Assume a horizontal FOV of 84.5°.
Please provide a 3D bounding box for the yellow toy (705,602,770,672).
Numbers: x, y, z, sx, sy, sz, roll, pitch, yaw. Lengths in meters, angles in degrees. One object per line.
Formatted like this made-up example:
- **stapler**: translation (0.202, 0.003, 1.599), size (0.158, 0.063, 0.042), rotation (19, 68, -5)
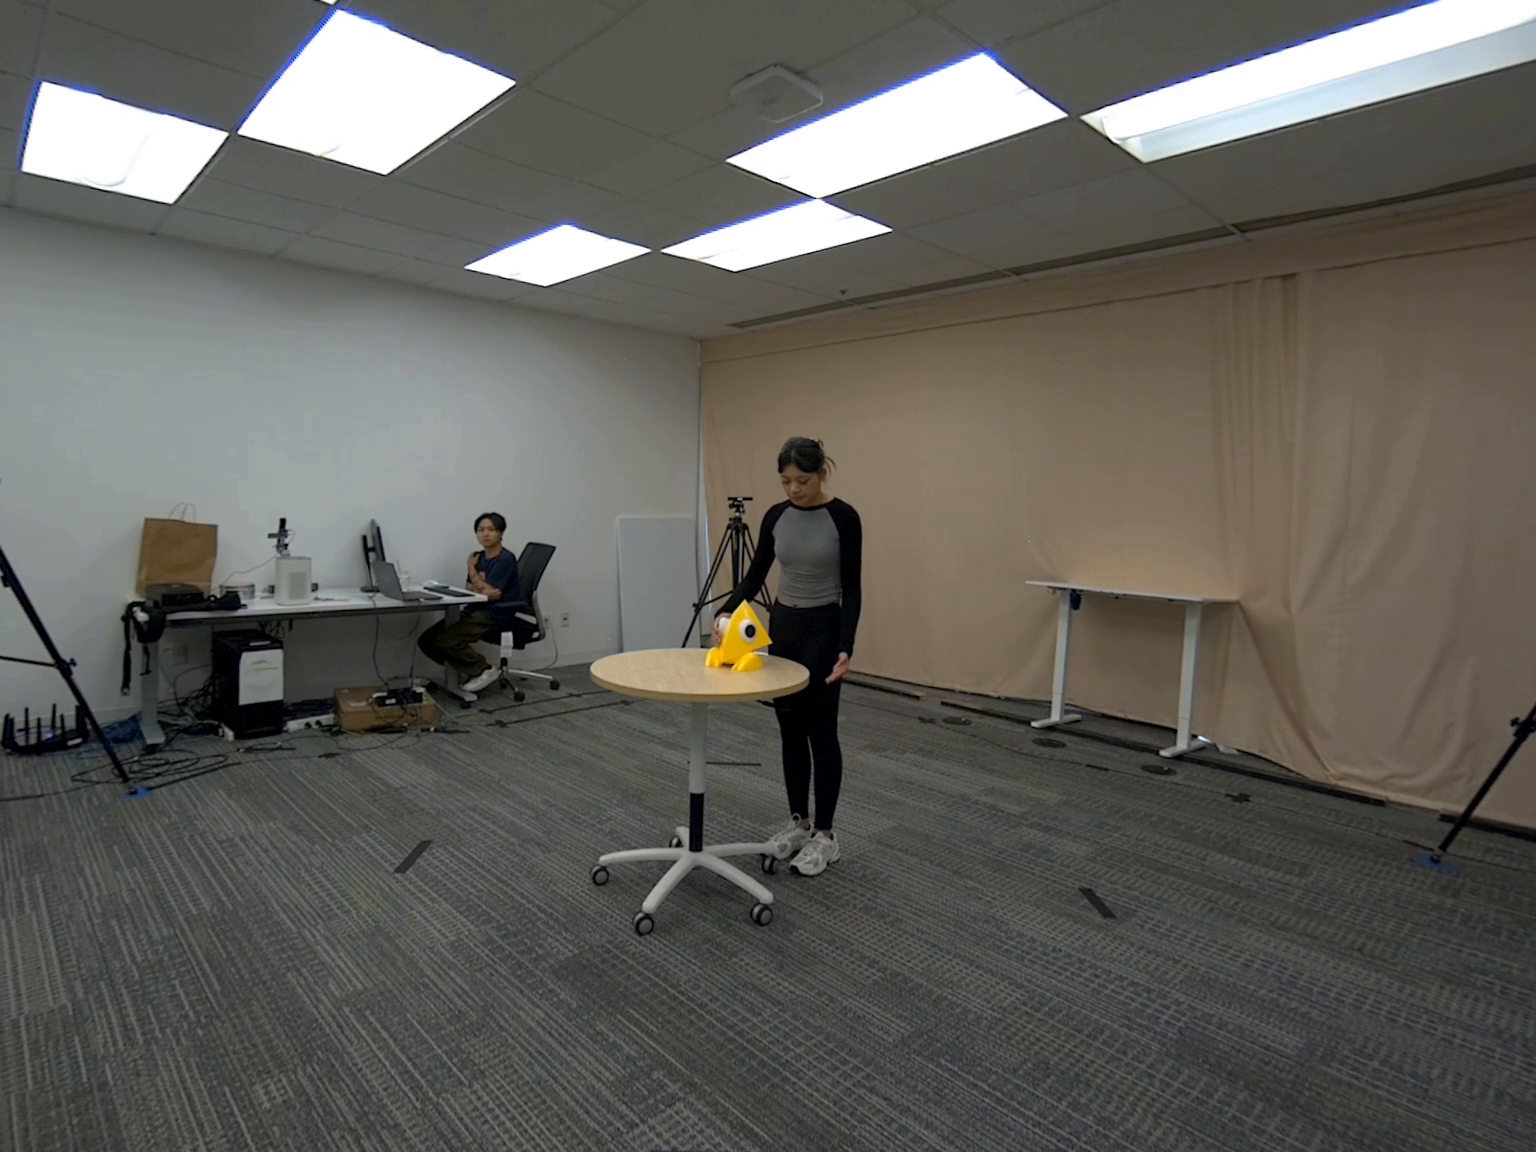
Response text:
- **yellow toy**: translation (-0.121, 0.209, 3.021), size (0.209, 0.230, 0.189), rotation (3, 5, 29)
